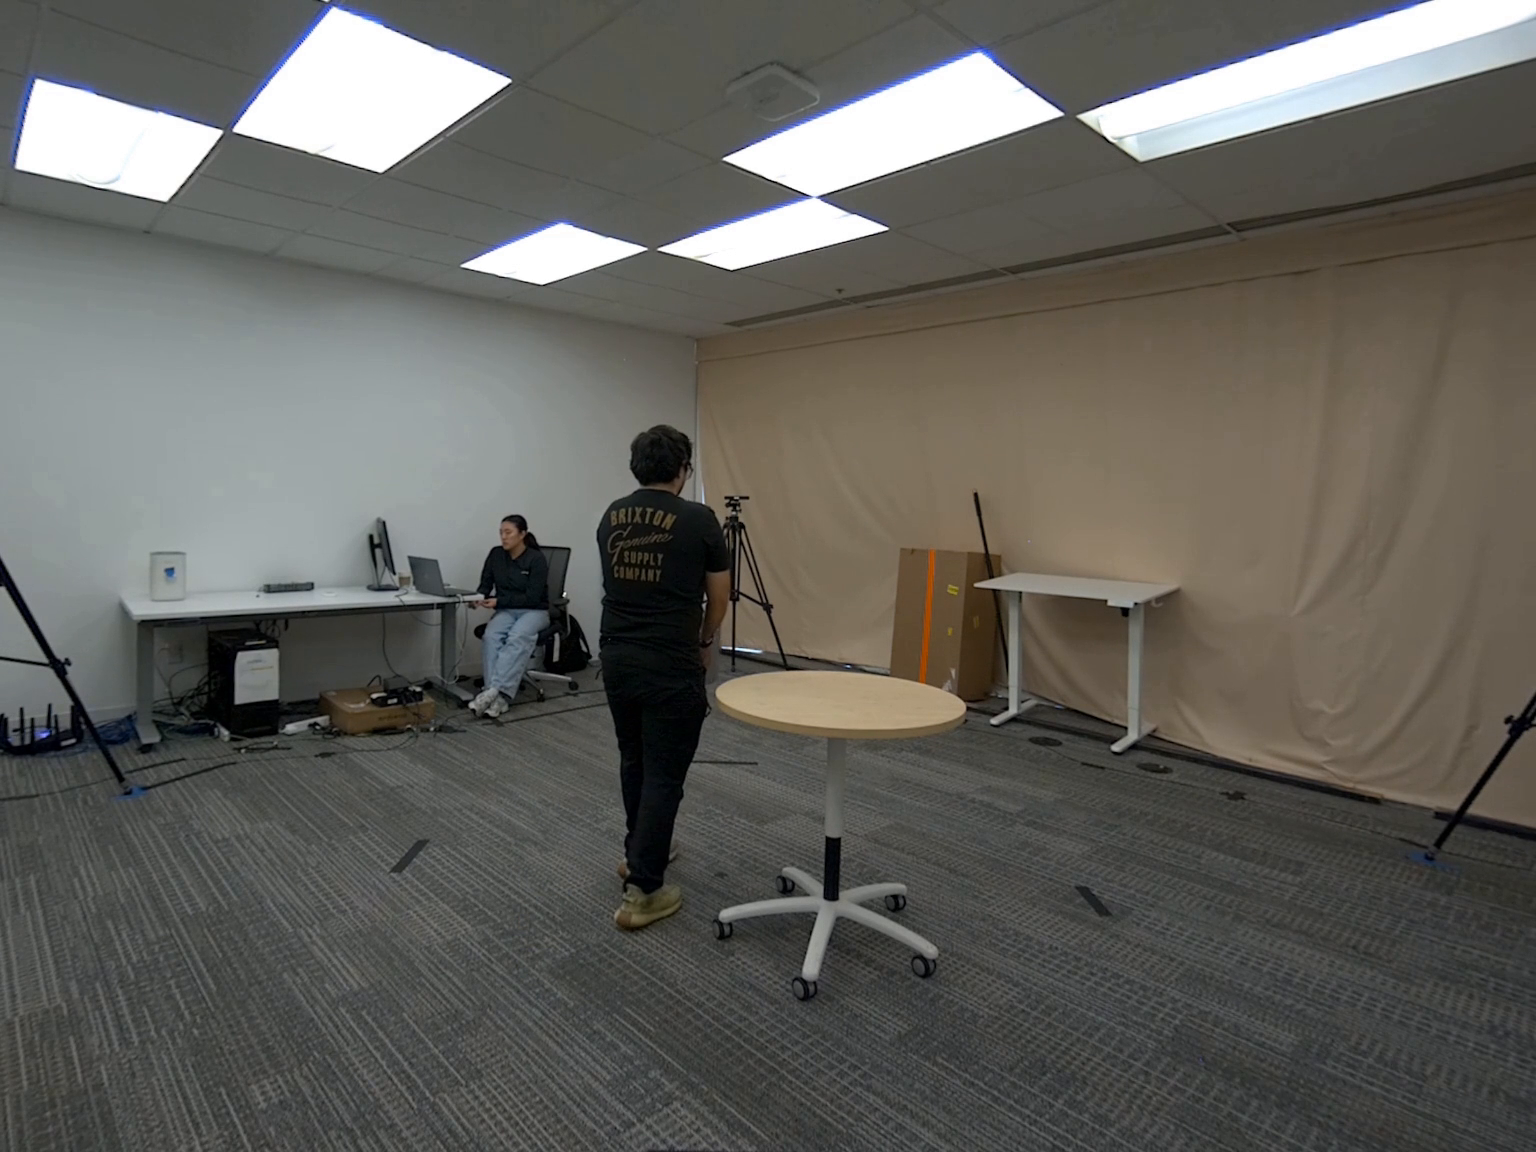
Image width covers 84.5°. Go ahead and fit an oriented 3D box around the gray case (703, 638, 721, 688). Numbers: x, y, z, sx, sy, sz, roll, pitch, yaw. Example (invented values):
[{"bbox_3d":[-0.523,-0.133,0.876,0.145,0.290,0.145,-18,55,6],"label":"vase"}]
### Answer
[{"bbox_3d":[-0.282,0.293,3.216,0.106,0.260,0.252,9,3,23],"label":"gray case"}]
